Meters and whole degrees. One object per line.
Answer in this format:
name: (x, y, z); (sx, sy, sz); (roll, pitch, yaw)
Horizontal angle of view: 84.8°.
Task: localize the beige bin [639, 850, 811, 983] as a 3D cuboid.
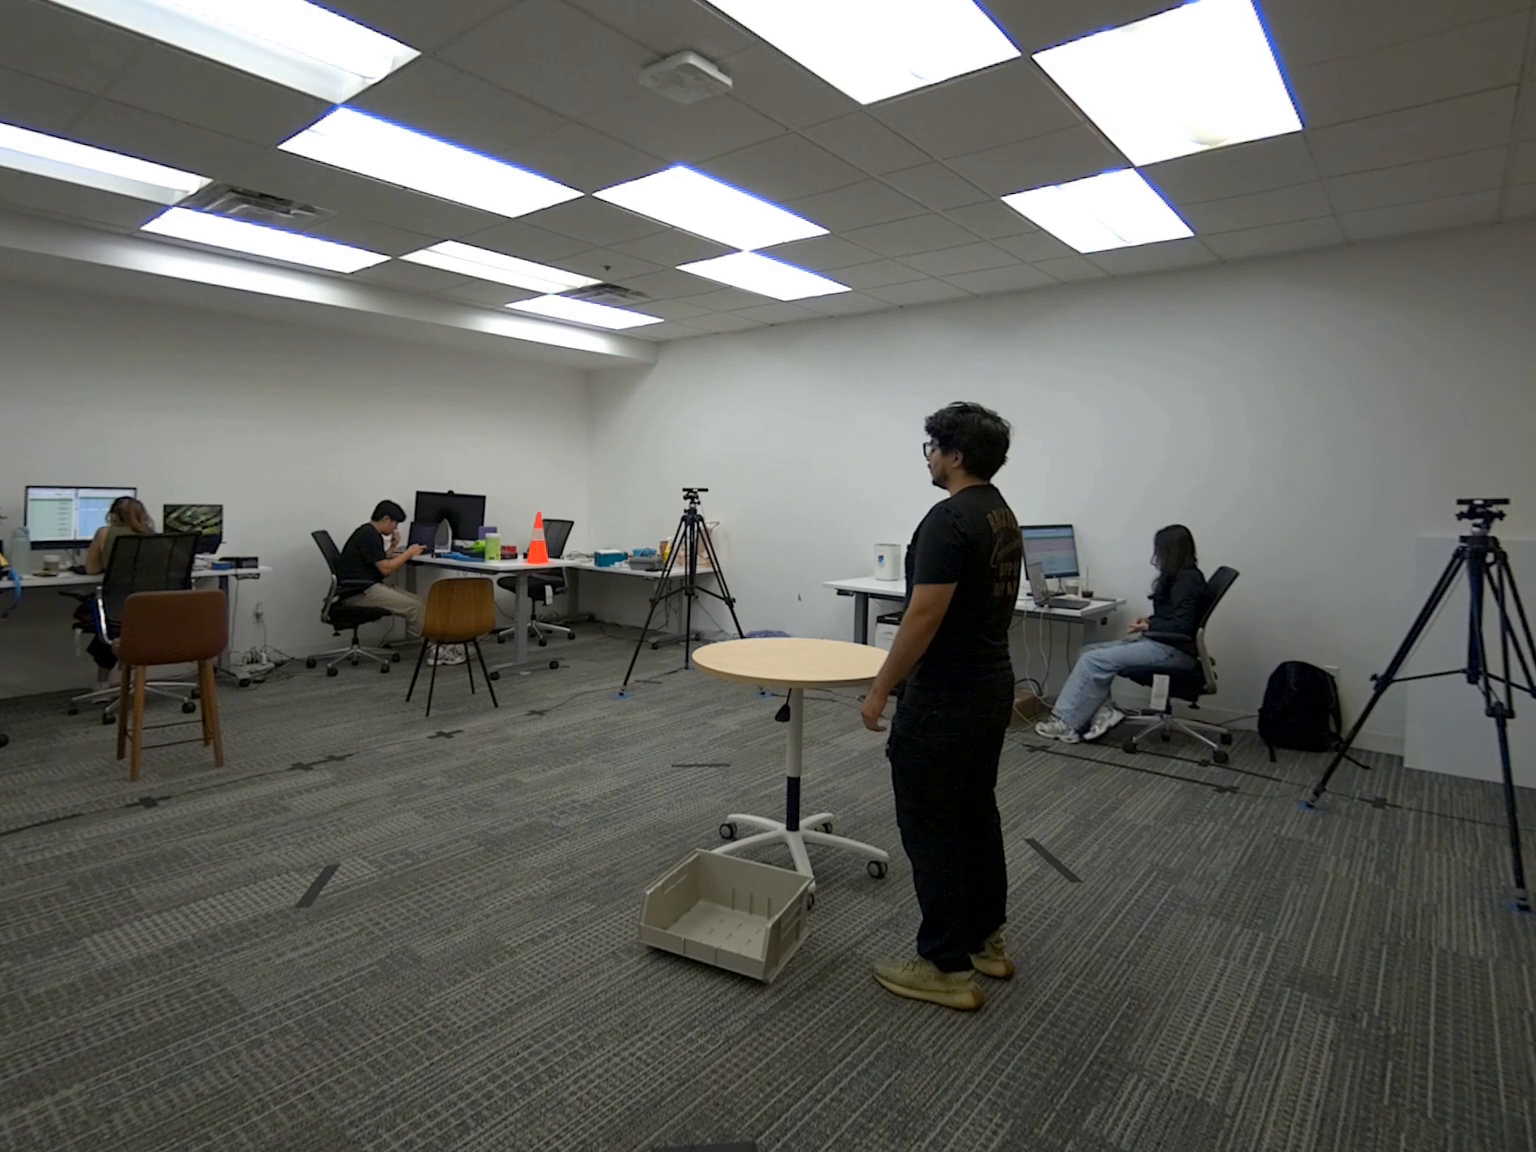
beige bin: (-0.128, 1.034, 2.600); (0.433, 0.188, 0.369); (3, 5, 25)
